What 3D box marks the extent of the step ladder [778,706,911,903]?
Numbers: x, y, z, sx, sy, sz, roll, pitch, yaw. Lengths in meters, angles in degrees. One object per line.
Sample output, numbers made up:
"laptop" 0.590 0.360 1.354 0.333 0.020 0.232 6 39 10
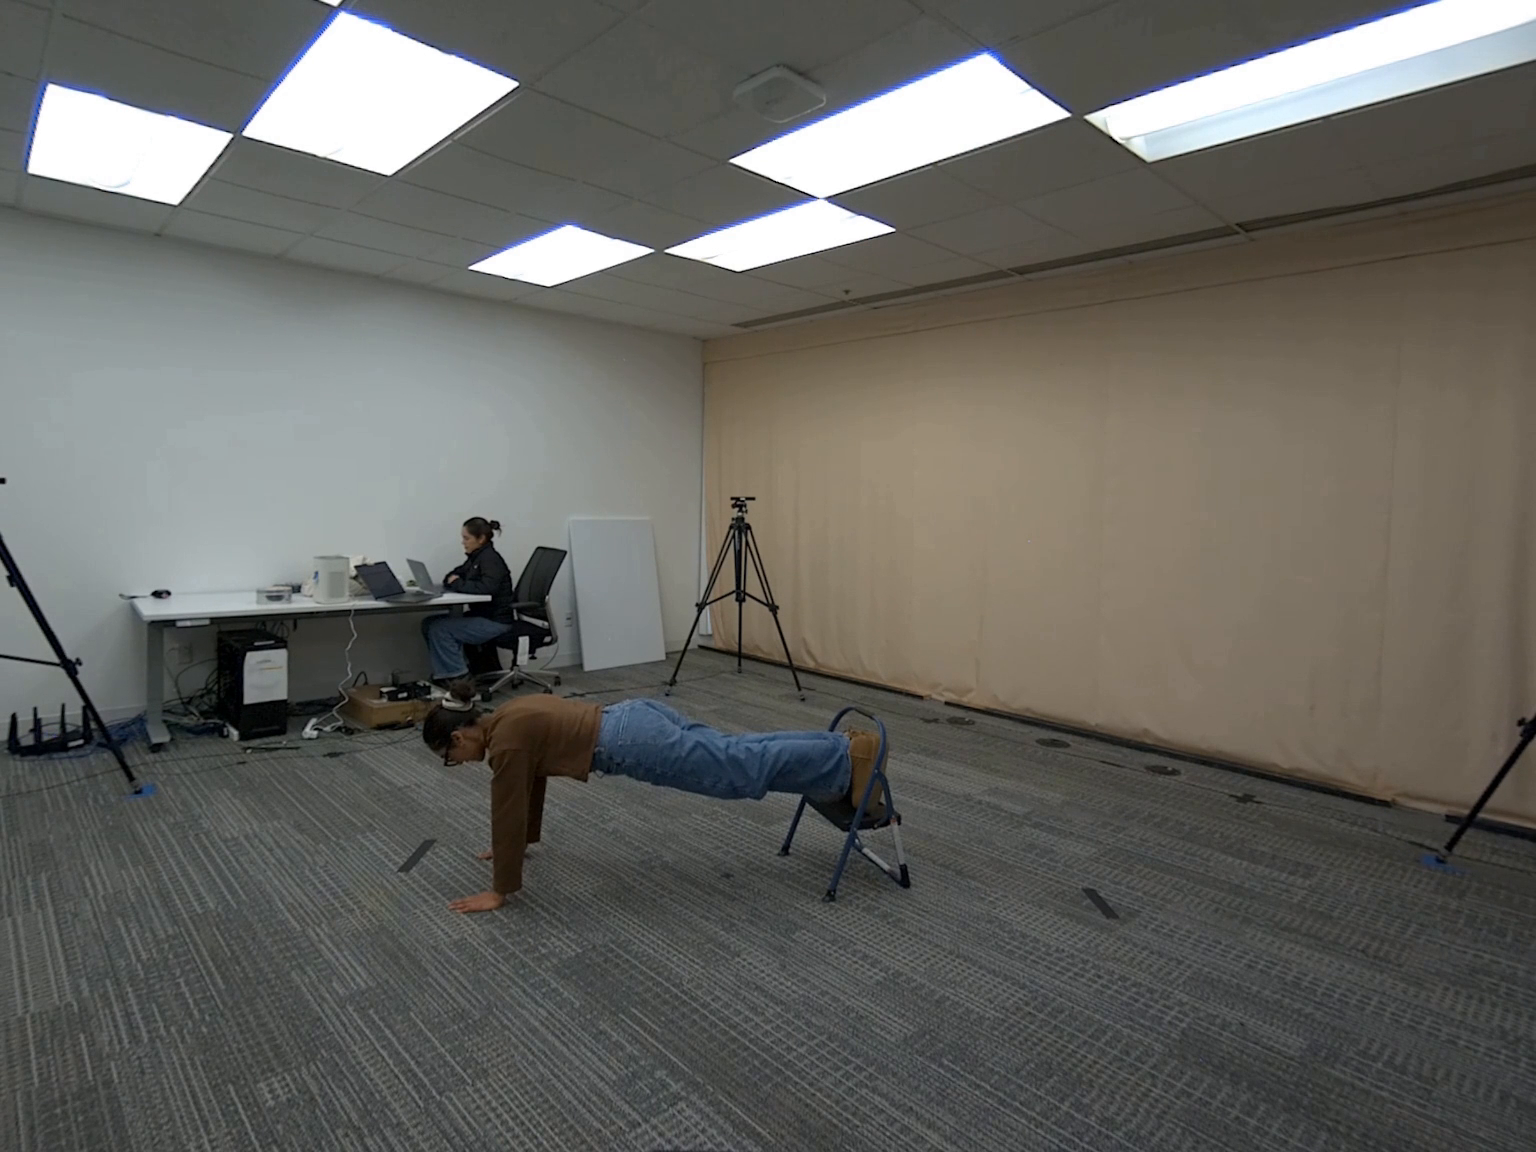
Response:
"step ladder" 0.280 0.811 3.156 0.343 0.605 0.439 0 4 -22
